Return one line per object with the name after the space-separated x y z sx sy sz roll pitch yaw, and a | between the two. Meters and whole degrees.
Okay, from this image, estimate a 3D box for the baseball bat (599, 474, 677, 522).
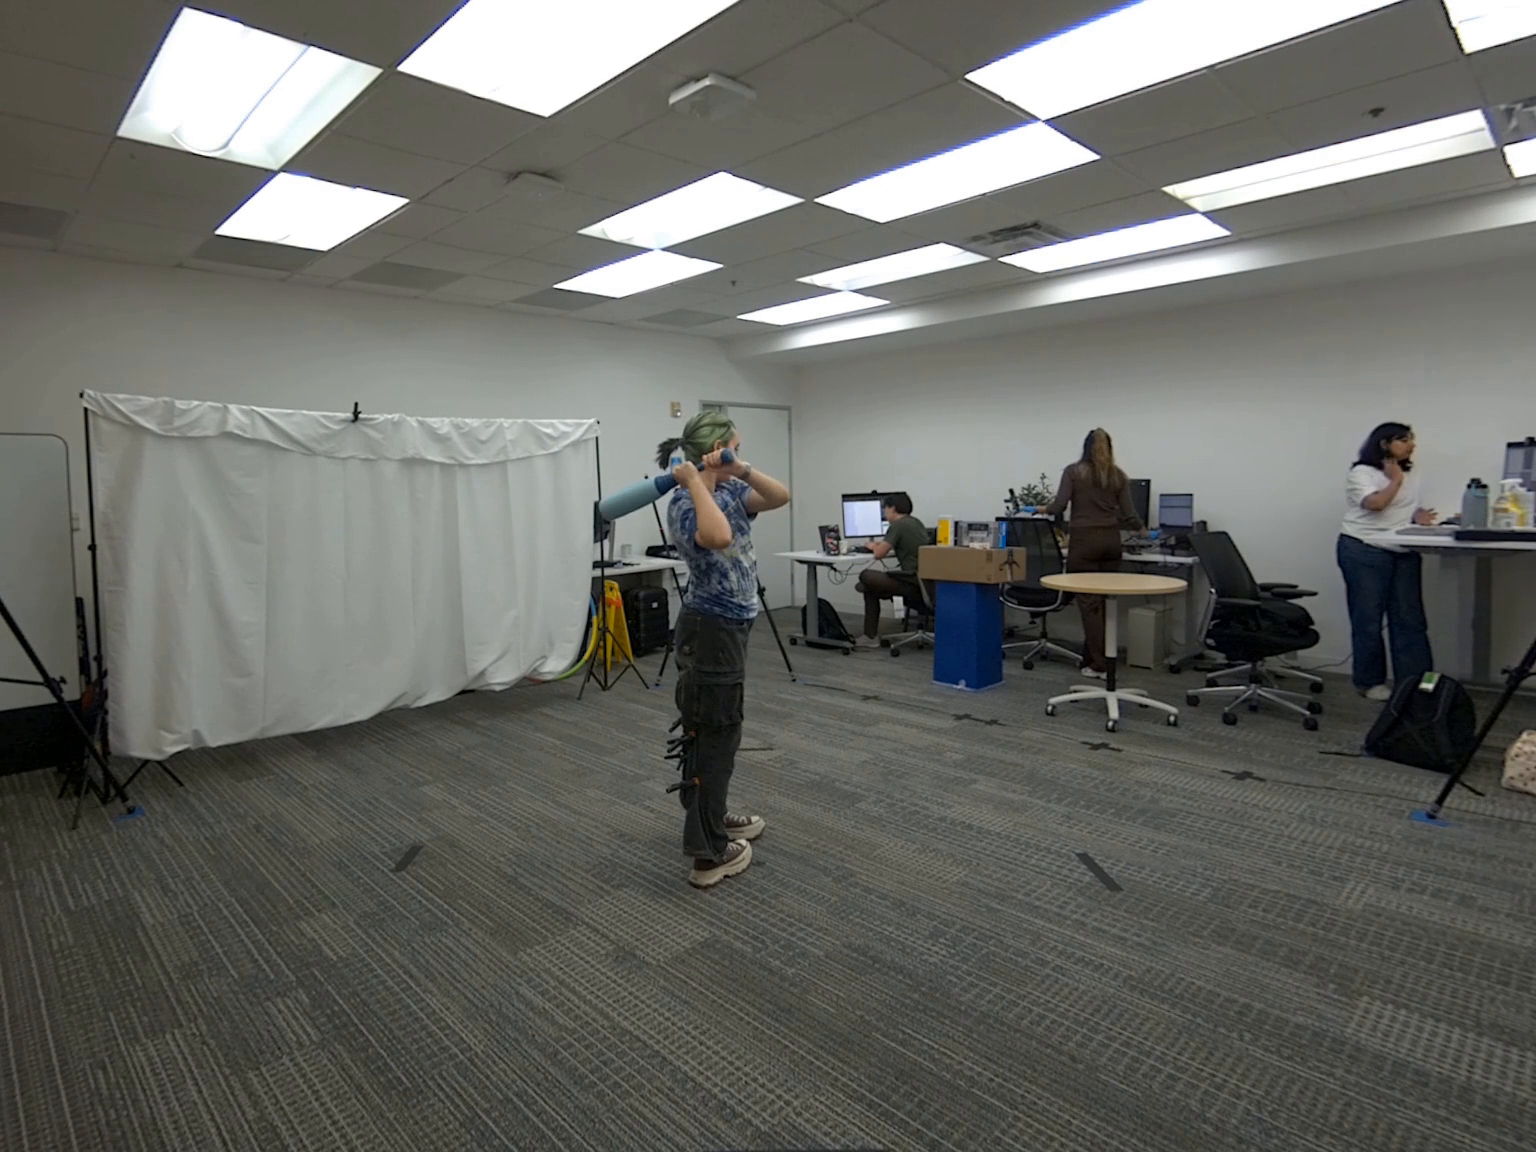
-0.351 -0.321 2.915 0.550 0.089 0.087 -21 -4 25 | baseball bat
